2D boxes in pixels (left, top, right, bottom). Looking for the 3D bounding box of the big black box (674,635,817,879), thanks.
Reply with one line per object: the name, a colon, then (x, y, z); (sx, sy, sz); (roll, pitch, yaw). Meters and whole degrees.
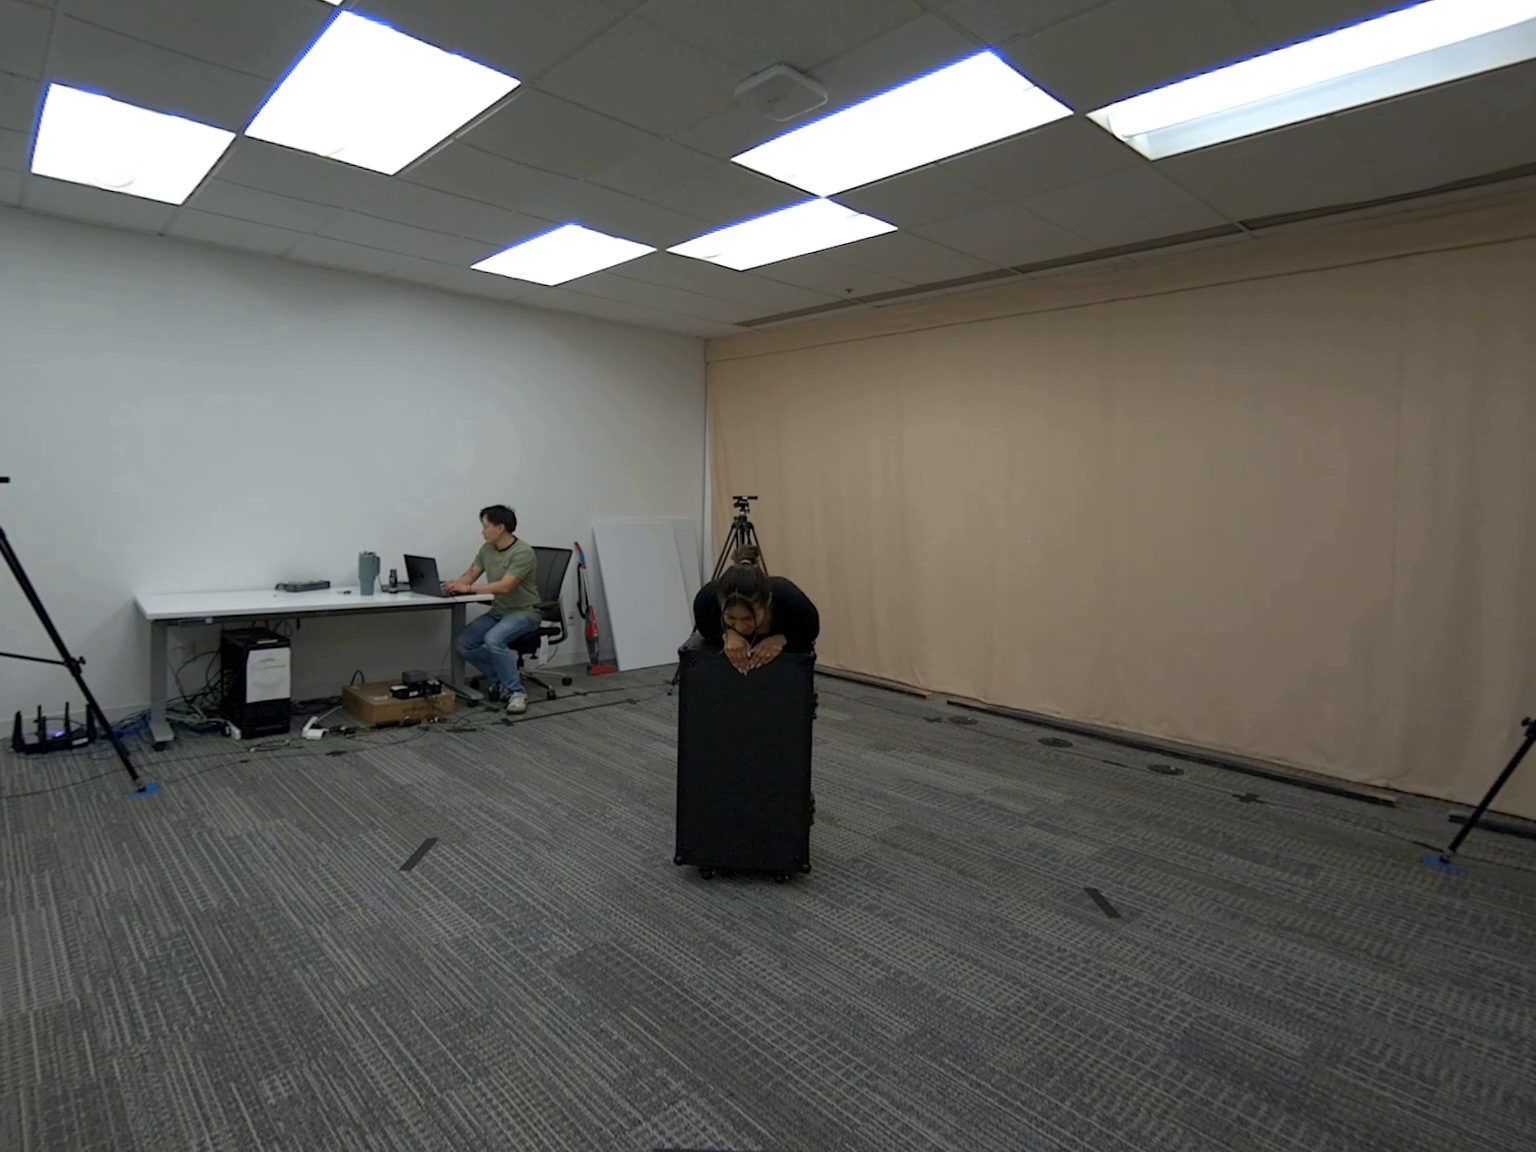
big black box: (-0.086, 0.676, 3.168); (0.523, 0.860, 0.396); (1, 2, 3)
